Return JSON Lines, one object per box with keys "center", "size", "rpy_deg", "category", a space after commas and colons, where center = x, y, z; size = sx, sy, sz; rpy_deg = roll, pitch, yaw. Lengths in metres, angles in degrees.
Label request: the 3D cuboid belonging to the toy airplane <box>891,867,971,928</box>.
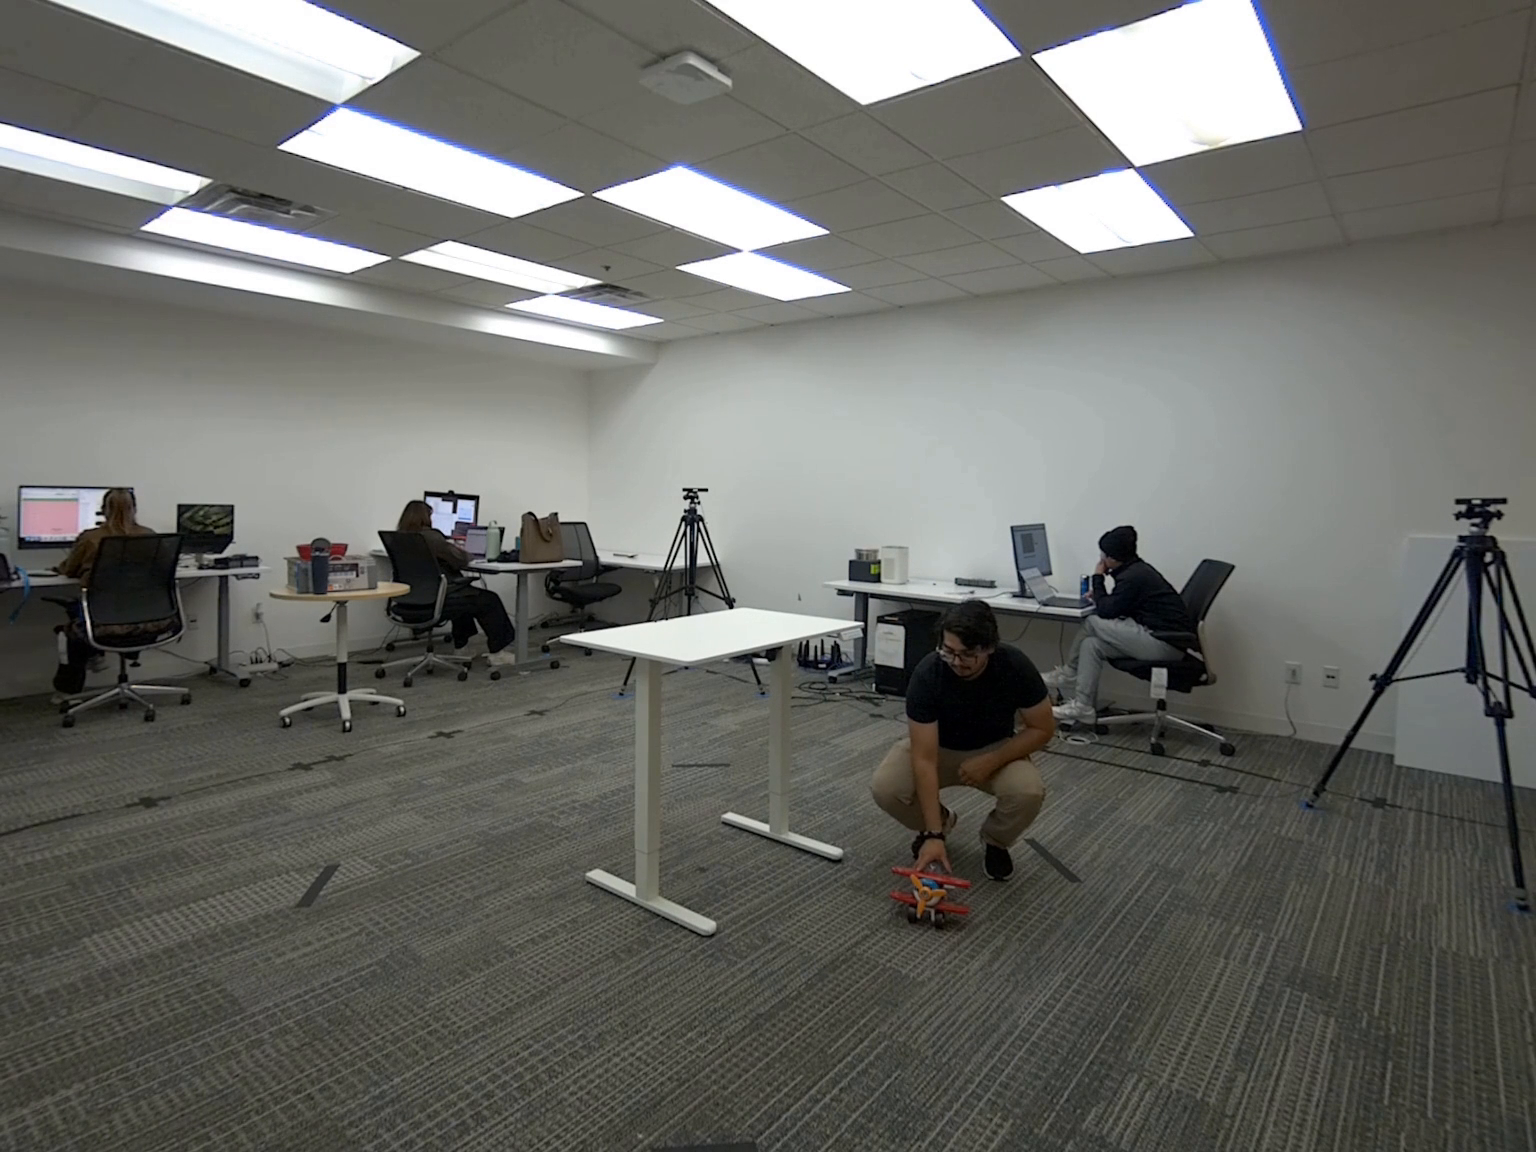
{"center": [0.516, 1.038, 2.826], "size": [0.250, 0.156, 0.262], "rpy_deg": [1, 6, -5], "category": "toy airplane"}
